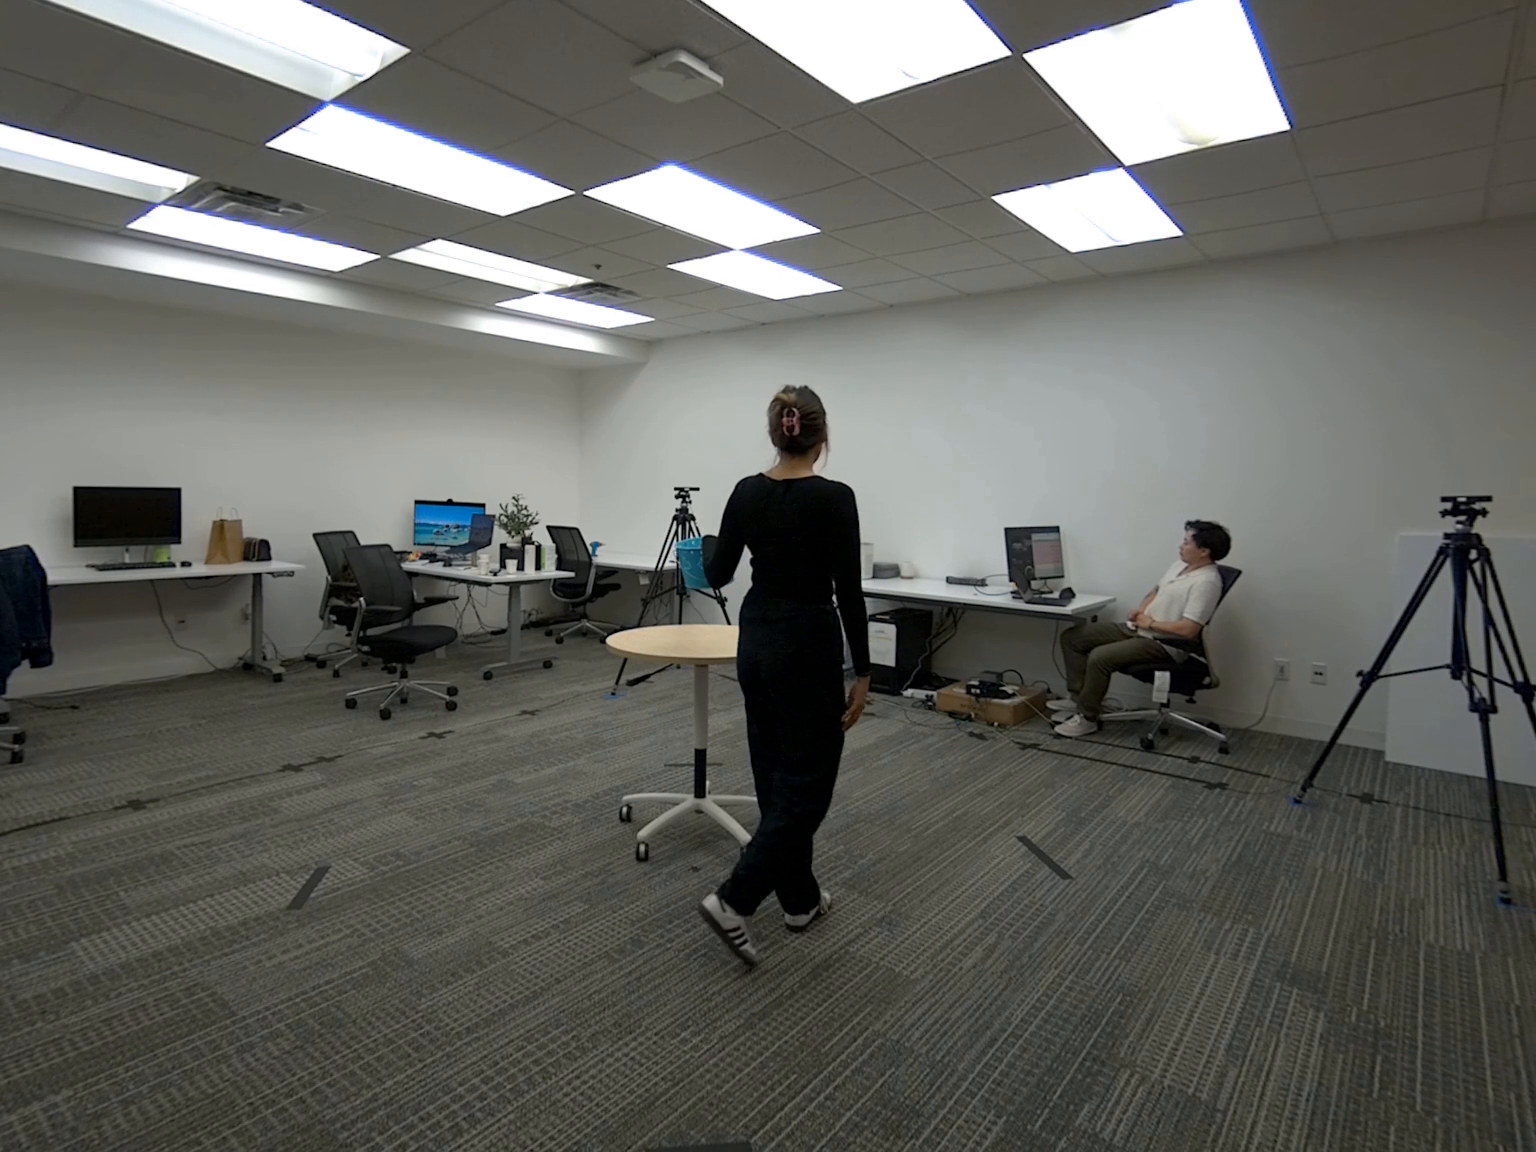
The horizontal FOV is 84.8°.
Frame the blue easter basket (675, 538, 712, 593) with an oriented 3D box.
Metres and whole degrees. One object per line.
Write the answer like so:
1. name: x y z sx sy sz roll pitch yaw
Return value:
1. blue easter basket: -0.235 -0.048 3.063 0.243 0.154 0.246 -4 11 -1
